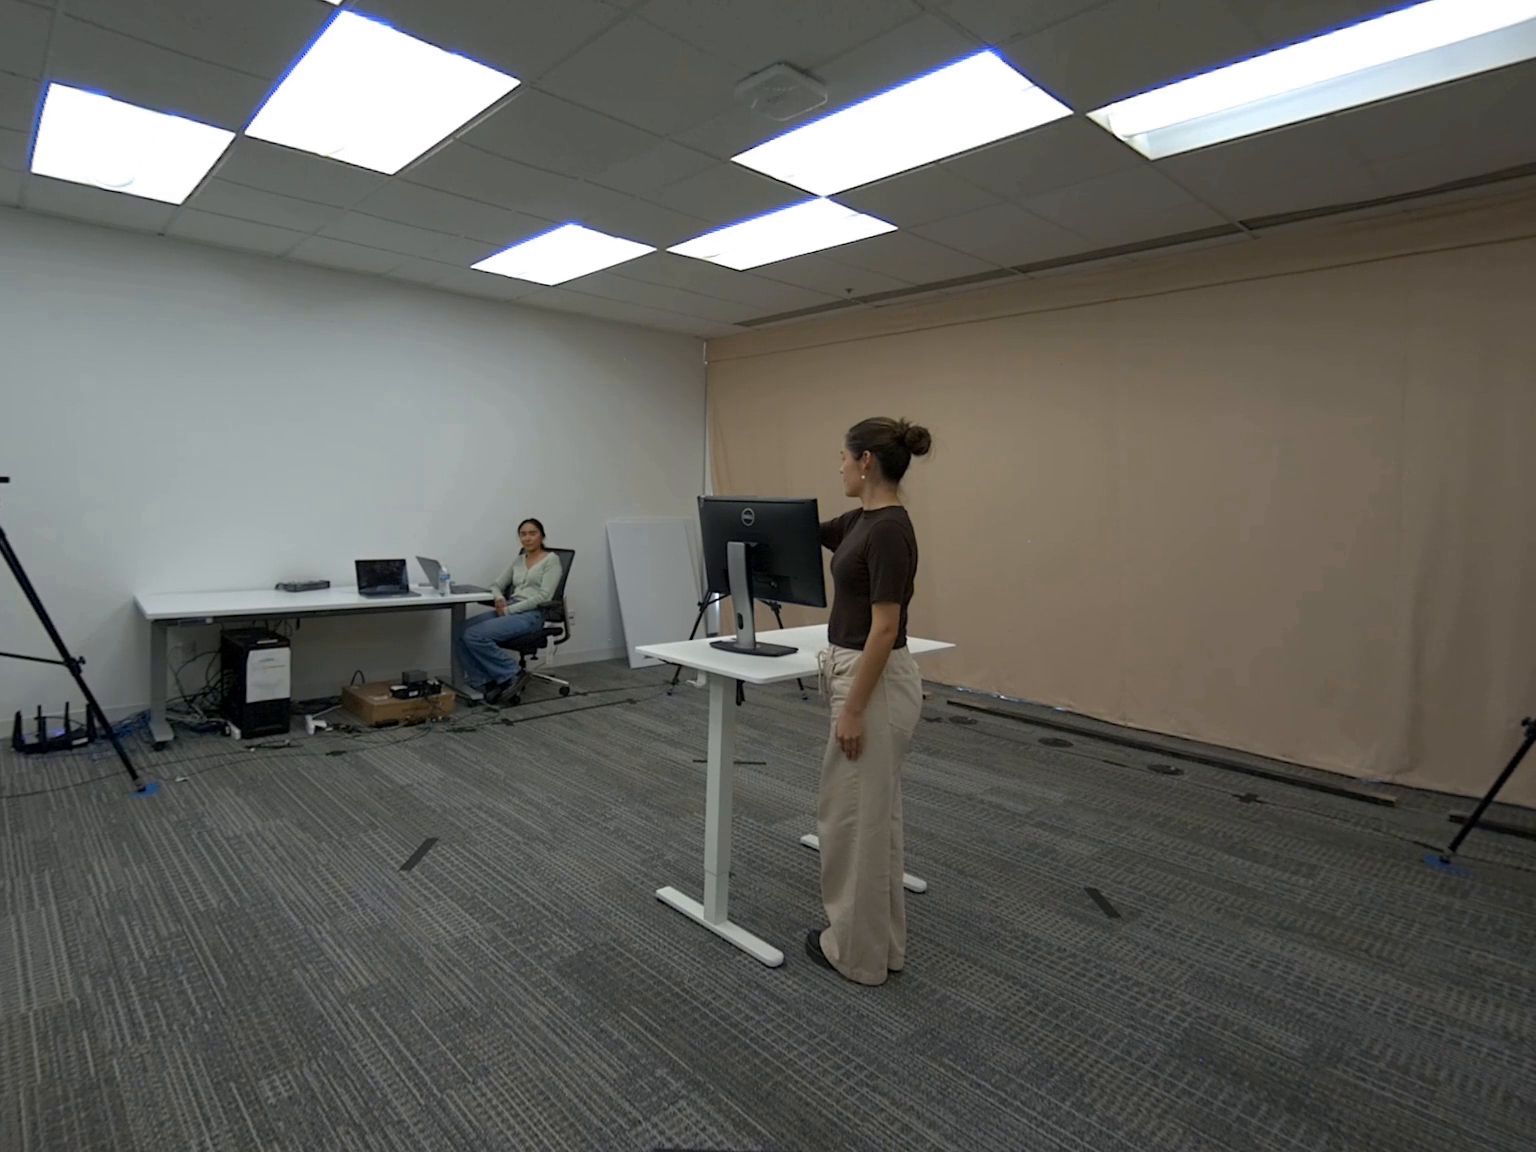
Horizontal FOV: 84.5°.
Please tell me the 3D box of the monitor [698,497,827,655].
[{"bbox_3d":[-0.056,-0.001,2.800,0.553,0.521,0.183,5,4,43],"label":"monitor"}]
